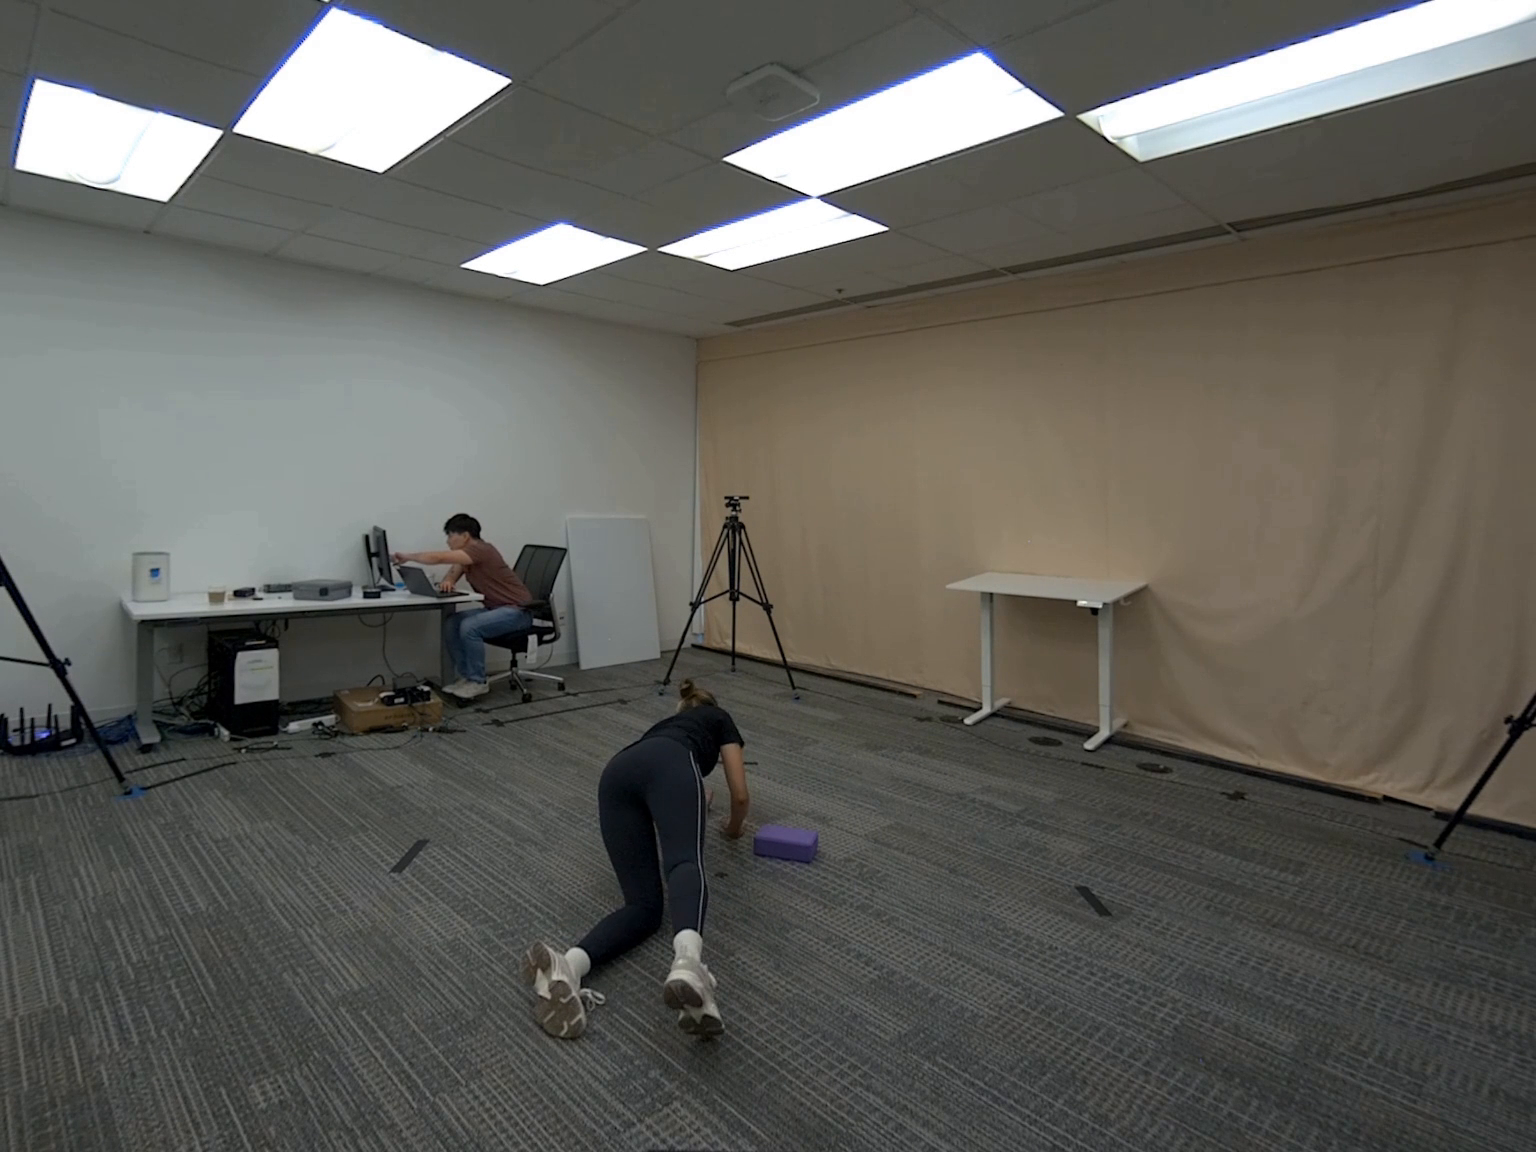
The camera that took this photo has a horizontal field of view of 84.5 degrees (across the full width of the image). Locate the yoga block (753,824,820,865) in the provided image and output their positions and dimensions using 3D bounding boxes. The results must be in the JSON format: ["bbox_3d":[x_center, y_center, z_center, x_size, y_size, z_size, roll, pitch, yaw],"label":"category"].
[{"bbox_3d":[0.062,1.052,3.311,0.232,0.076,0.147,2,6,16],"label":"yoga block"}]
